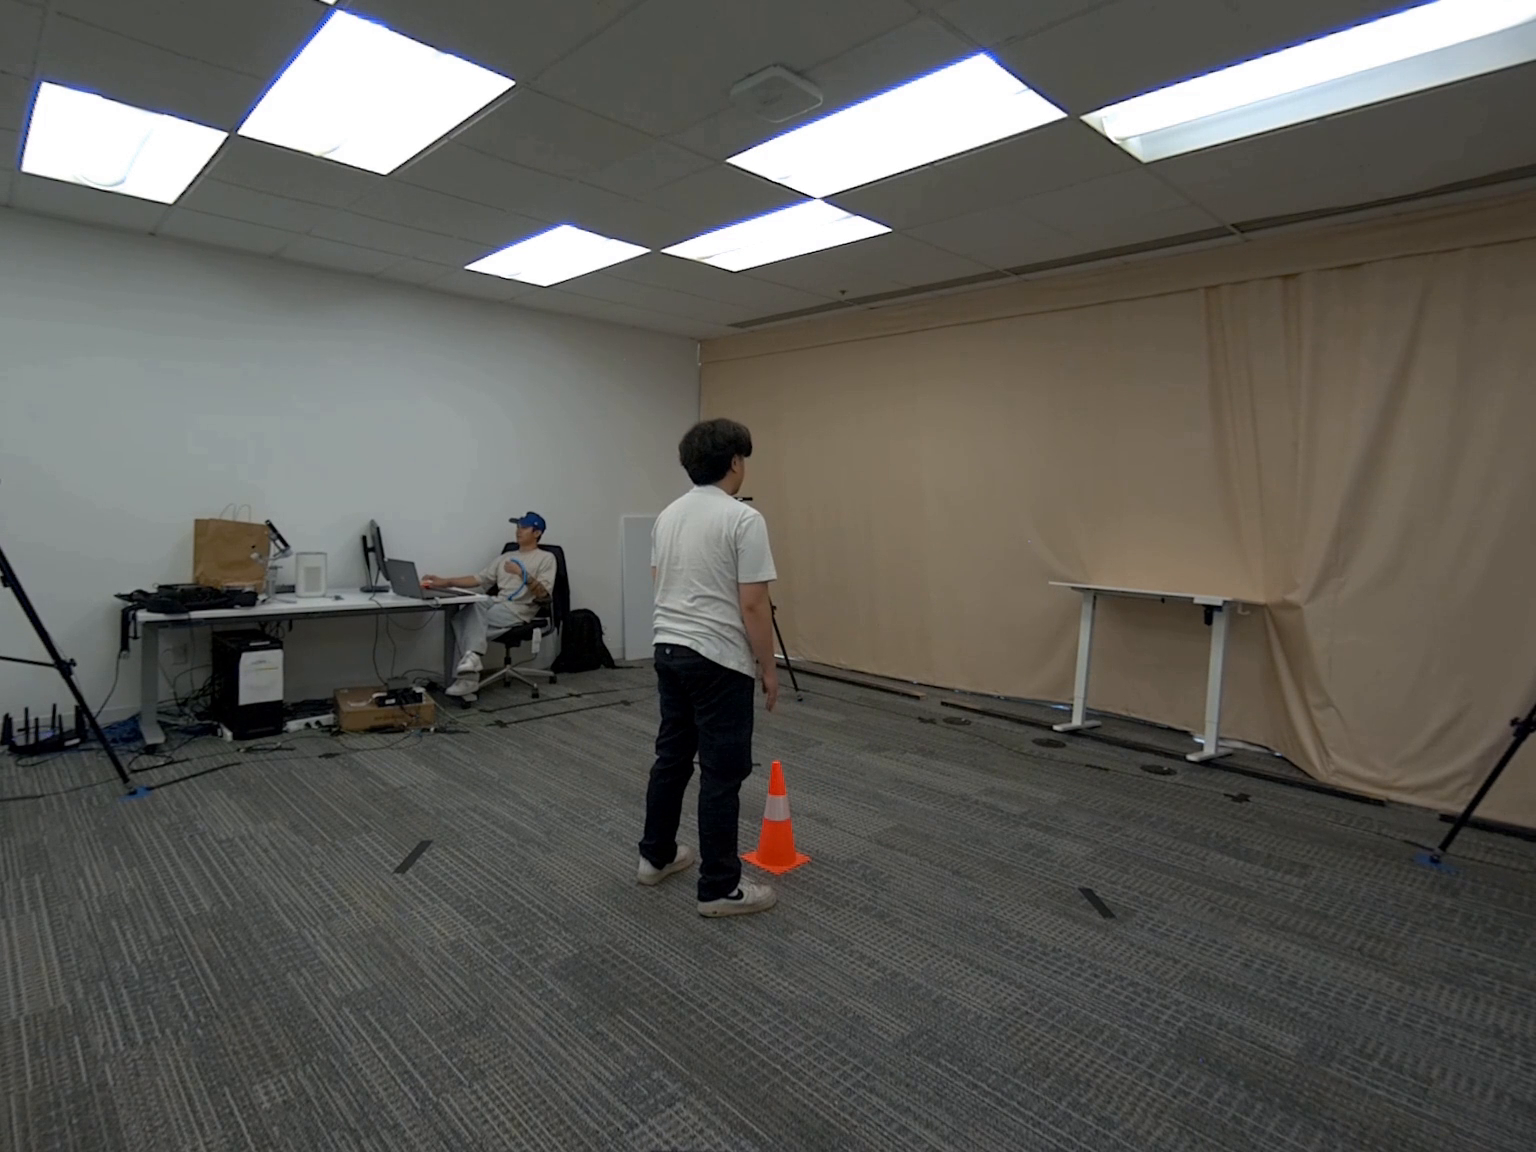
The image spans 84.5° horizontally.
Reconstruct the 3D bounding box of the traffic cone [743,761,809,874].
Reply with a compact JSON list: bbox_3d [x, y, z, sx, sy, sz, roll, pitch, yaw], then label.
[{"bbox_3d":[0.023,0.914,3.266,0.210,0.383,0.199,2,2,38],"label":"traffic cone"}]
